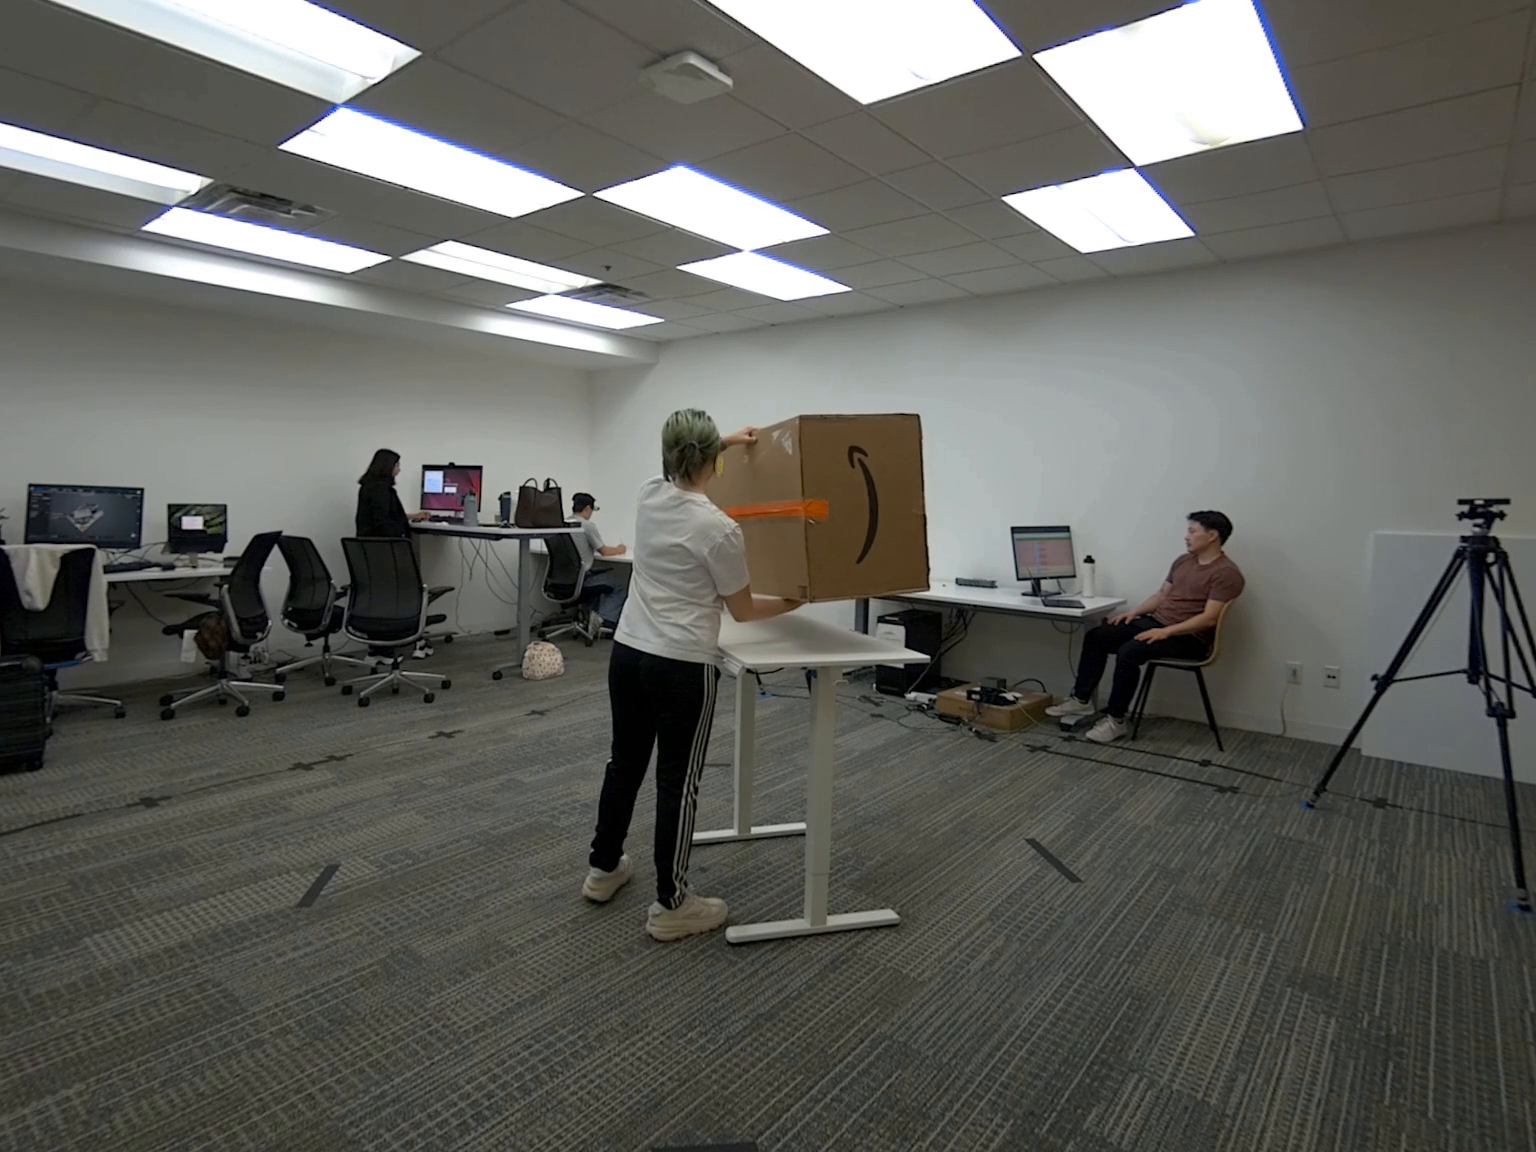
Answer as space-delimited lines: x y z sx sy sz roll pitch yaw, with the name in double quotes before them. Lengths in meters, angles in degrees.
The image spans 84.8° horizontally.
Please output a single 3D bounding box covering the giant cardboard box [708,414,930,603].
"giant cardboard box" 0.098 -0.240 3.131 0.439 0.583 1.047 -3 2 -20
